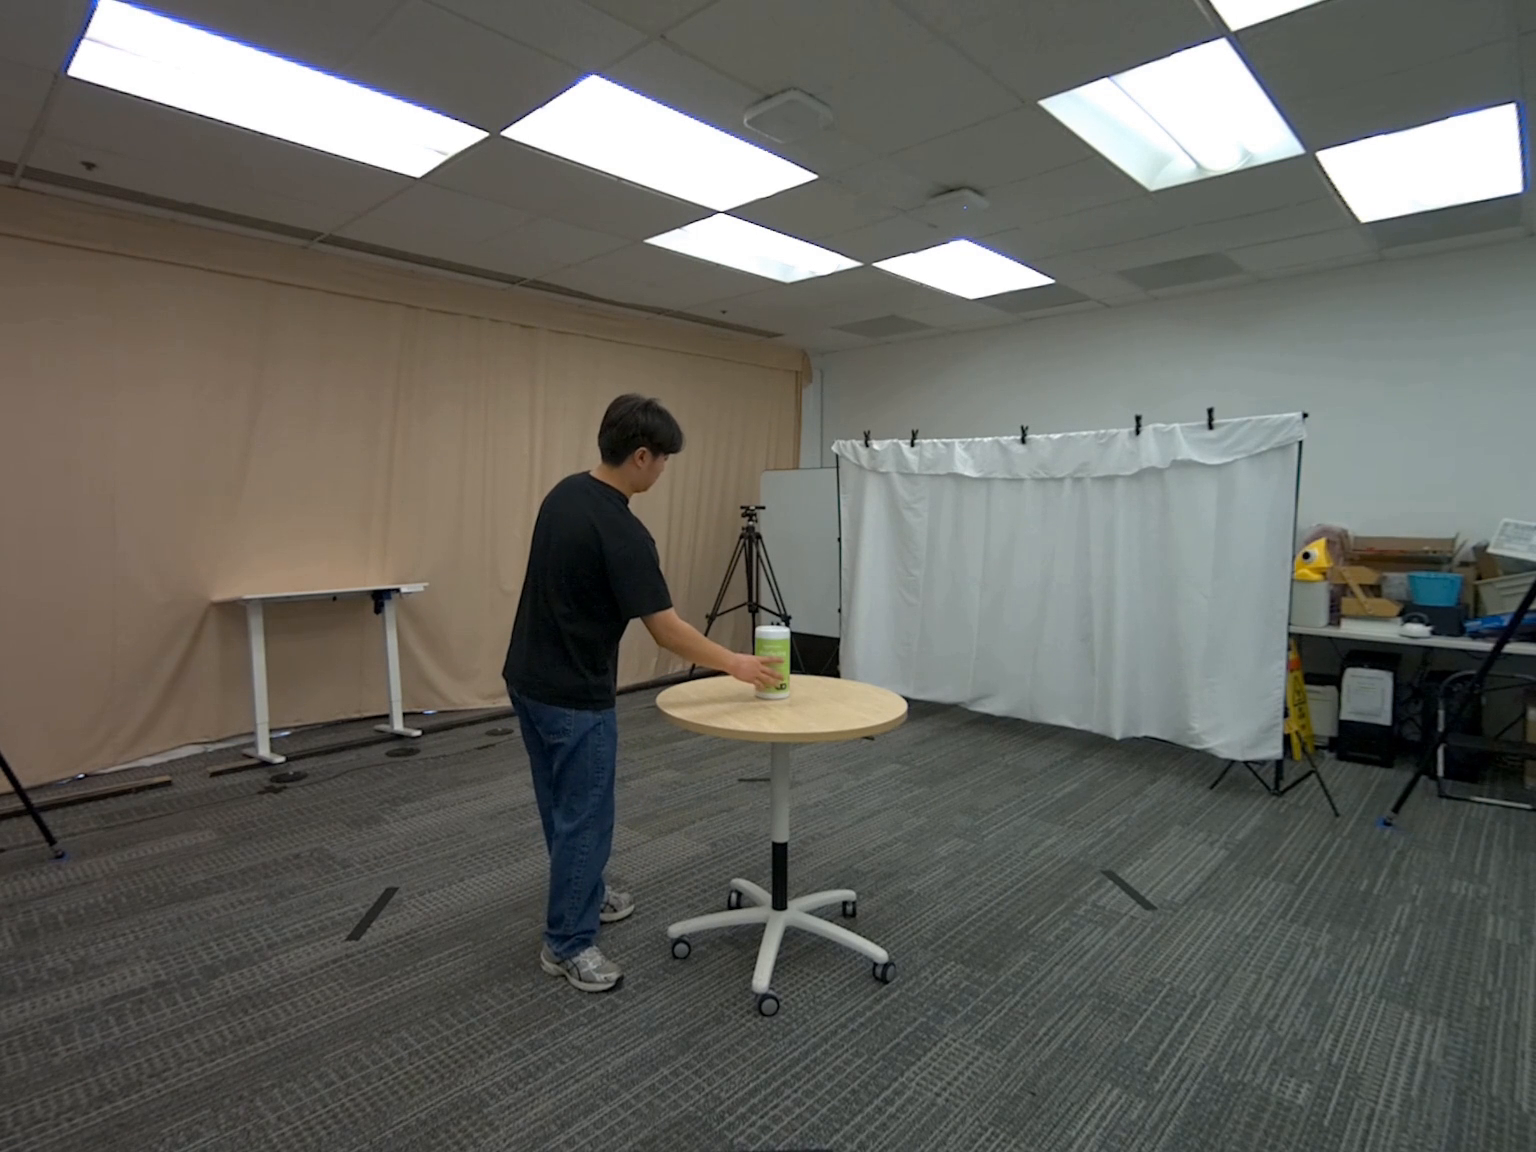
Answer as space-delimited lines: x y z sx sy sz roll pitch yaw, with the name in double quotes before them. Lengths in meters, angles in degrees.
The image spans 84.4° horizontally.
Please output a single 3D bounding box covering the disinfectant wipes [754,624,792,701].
"disinfectant wipes" 0.017 0.272 2.617 0.118 0.217 0.118 1 5 -2
